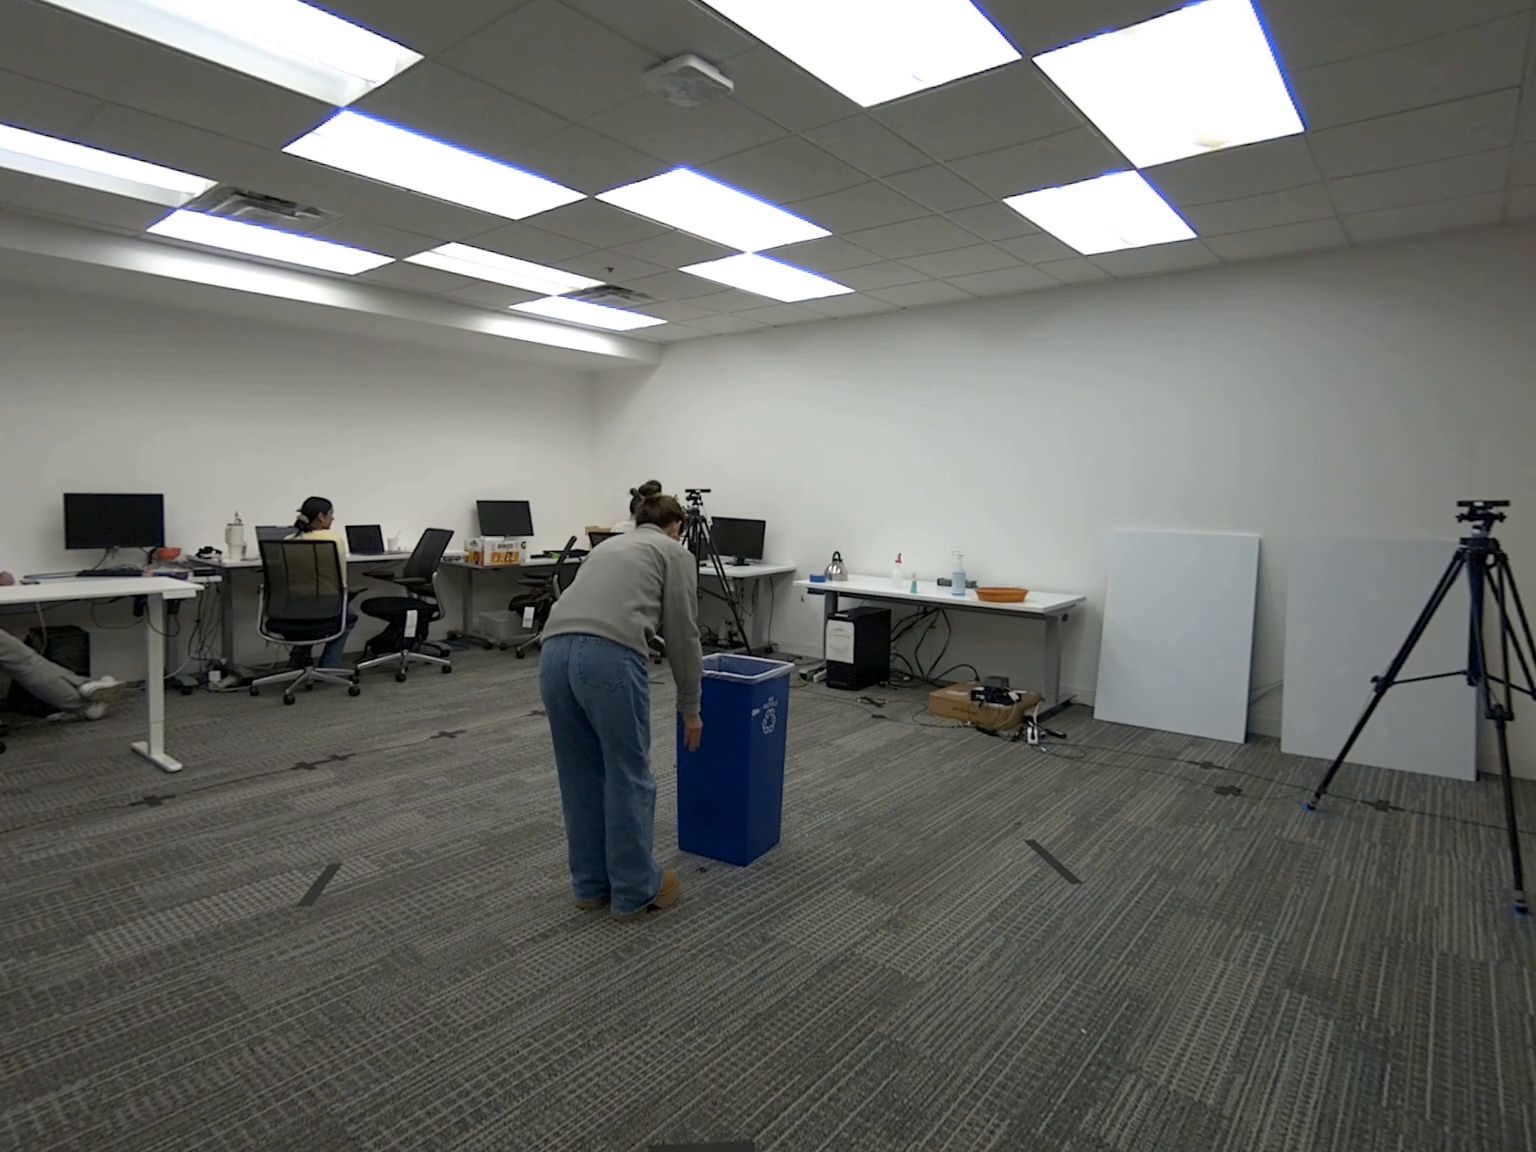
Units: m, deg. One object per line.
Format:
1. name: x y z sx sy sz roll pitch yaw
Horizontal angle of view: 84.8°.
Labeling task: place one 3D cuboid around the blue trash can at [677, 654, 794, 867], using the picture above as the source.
1. blue trash can: -0.149 0.696 3.333 0.389 0.711 0.364 3 4 29
